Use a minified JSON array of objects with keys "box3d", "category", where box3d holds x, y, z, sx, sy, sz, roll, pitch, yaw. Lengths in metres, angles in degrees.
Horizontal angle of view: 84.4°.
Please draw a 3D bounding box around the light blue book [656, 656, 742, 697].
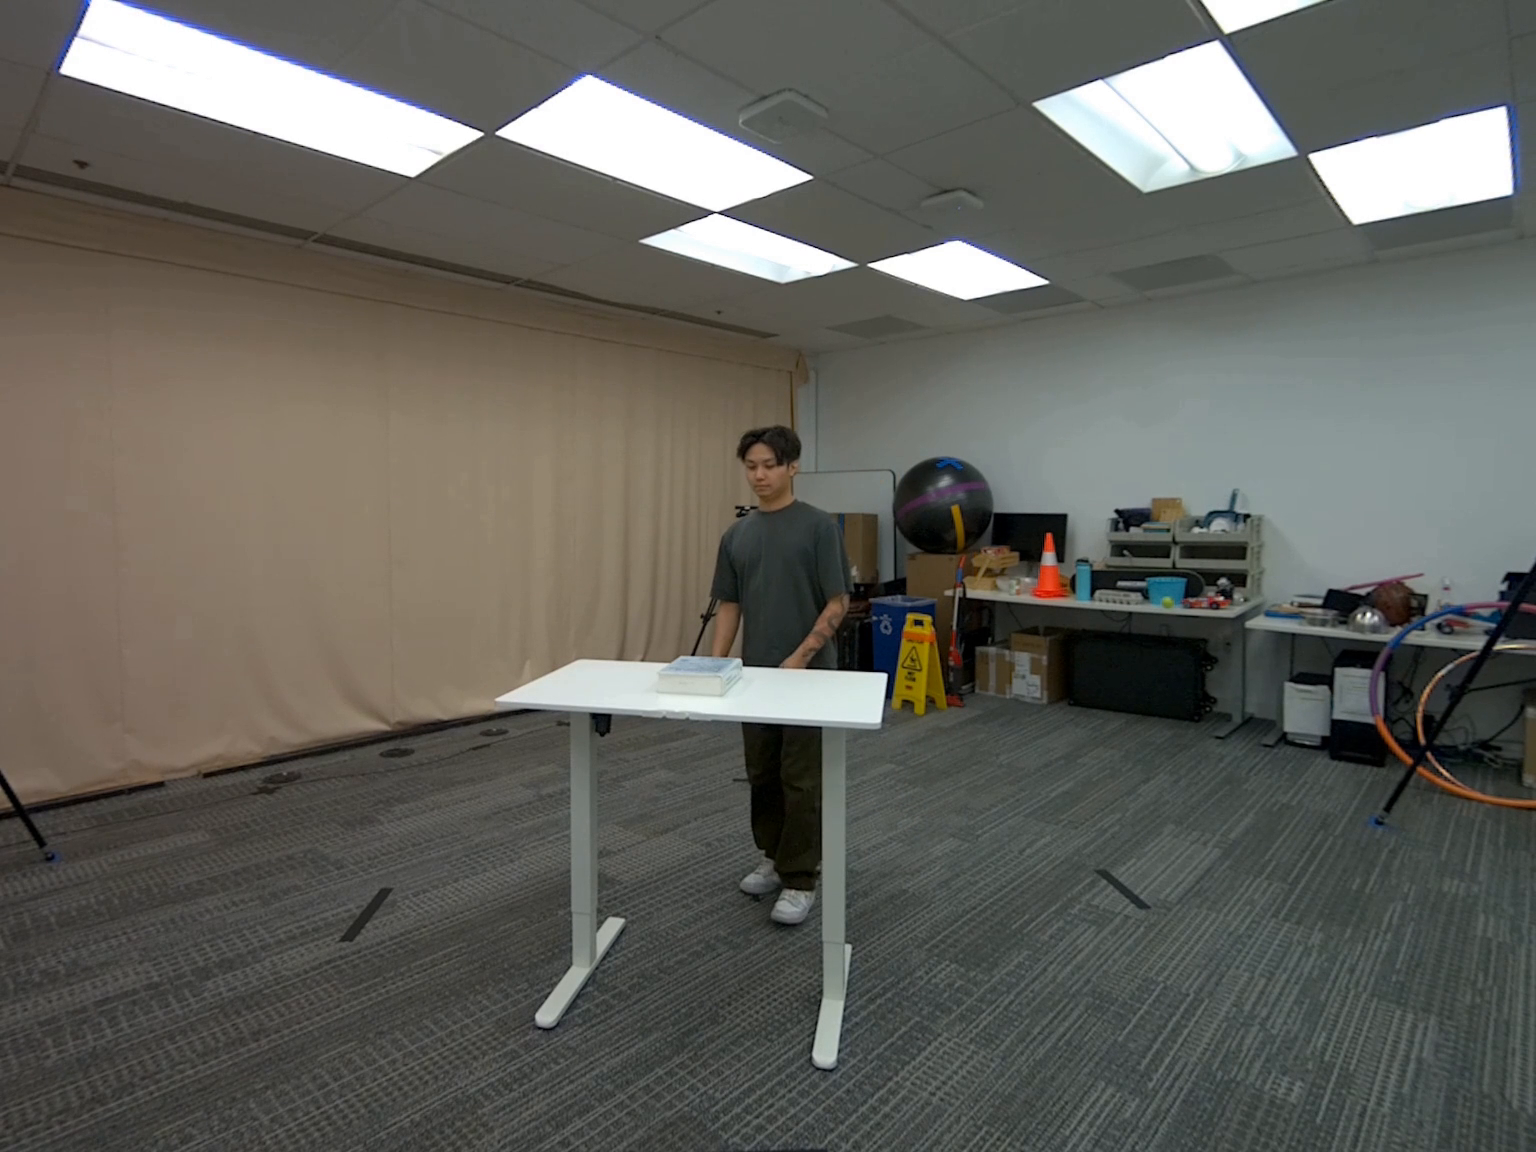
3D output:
[{"box3d":[-0.184,0.285,2.398,0.194,0.059,0.258,1,5,10],"category":"light blue book"}]
